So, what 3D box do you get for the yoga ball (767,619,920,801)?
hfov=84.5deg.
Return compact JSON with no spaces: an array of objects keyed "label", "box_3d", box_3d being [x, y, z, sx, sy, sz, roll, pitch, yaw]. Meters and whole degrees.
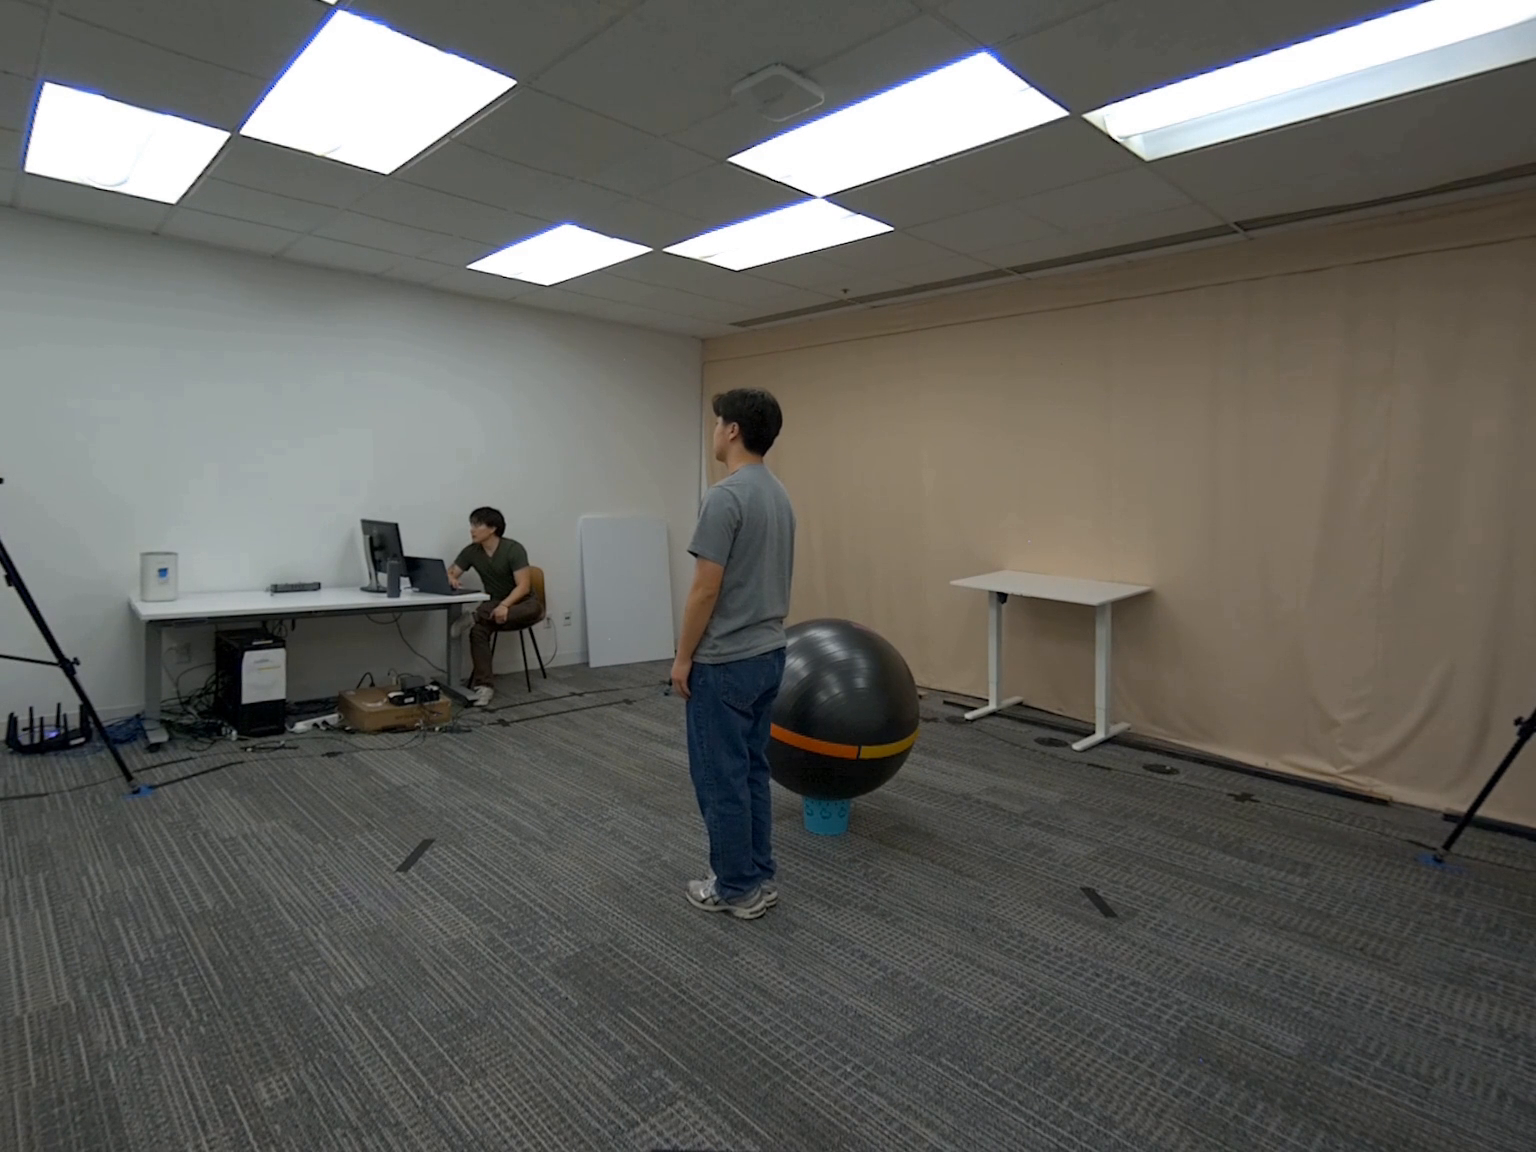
[{"label":"yoga ball","box_3d":[0.262,0.564,3.581,0.757,0.756,0.761,1,4,-1]}]
